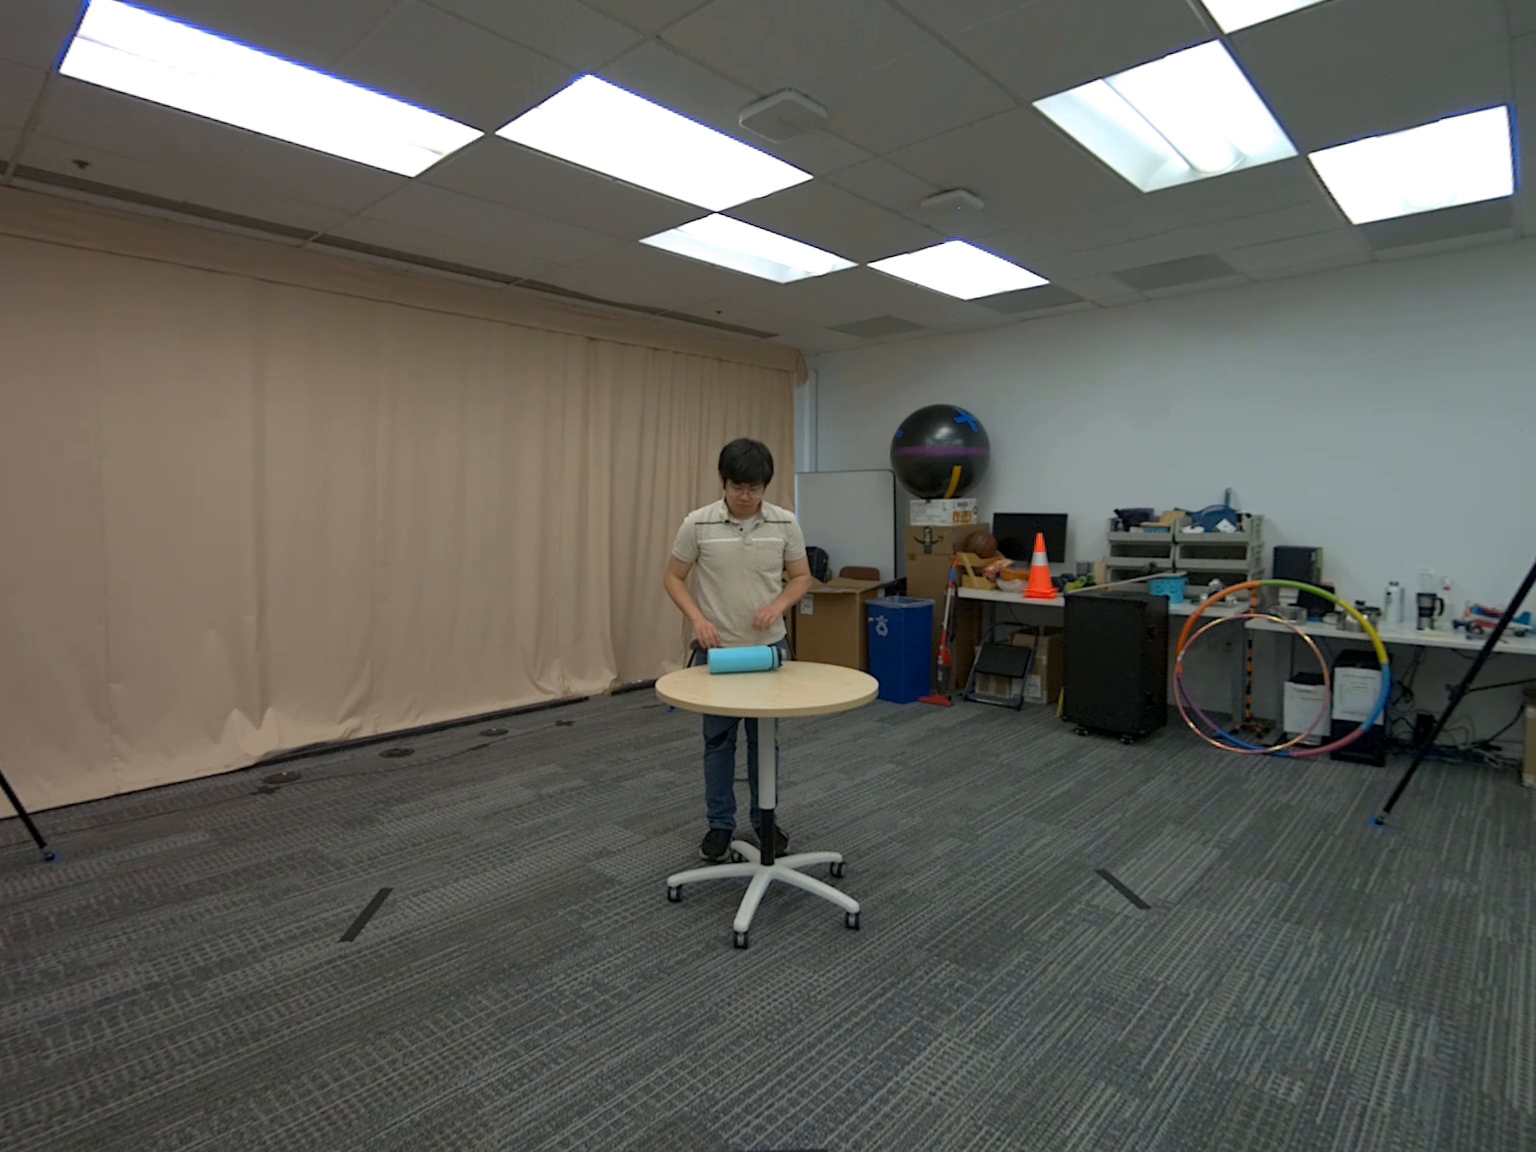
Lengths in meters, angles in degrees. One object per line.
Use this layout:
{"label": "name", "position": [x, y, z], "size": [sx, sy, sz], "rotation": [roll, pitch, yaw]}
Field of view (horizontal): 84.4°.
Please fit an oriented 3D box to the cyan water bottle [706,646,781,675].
{"label": "cyan water bottle", "position": [-0.076, 0.304, 3.087], "size": [0.281, 0.092, 0.093], "rotation": [-2, 4, -6]}
